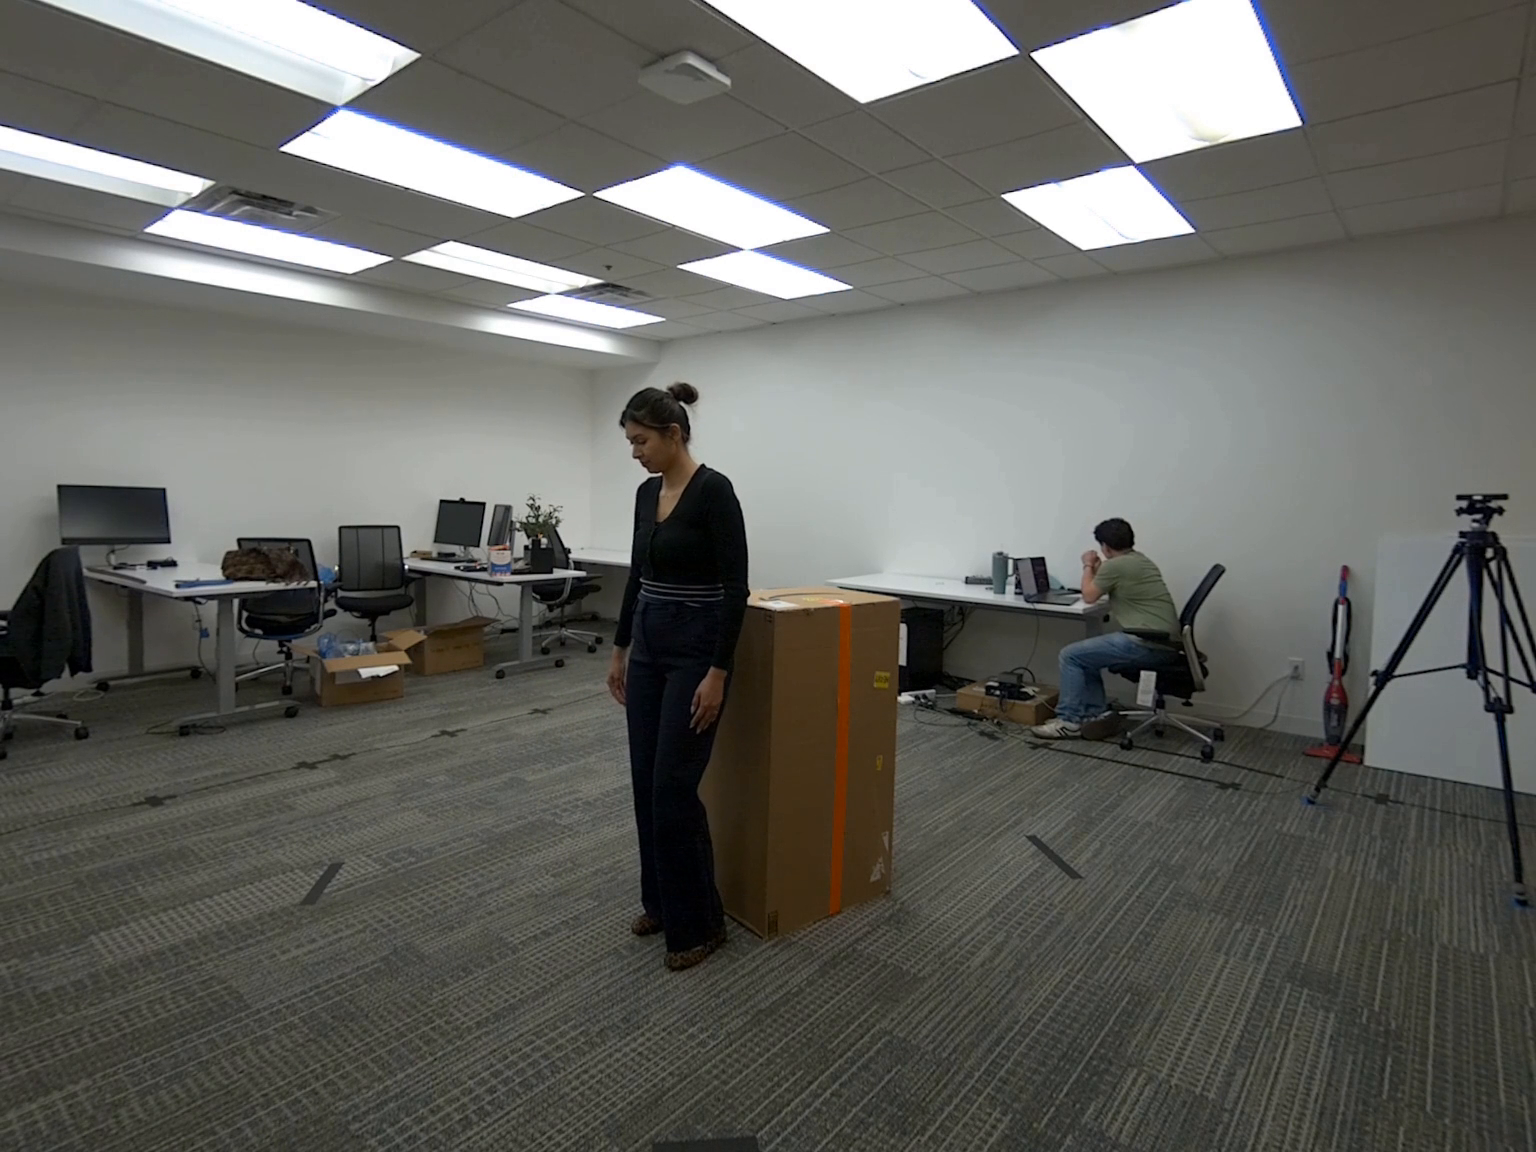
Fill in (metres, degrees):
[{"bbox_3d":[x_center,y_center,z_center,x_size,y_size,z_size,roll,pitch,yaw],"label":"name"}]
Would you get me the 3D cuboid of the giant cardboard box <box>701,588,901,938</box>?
[{"bbox_3d":[0.086,0.580,2.925,0.560,1.023,0.440,-1,4,-39],"label":"giant cardboard box"}]
